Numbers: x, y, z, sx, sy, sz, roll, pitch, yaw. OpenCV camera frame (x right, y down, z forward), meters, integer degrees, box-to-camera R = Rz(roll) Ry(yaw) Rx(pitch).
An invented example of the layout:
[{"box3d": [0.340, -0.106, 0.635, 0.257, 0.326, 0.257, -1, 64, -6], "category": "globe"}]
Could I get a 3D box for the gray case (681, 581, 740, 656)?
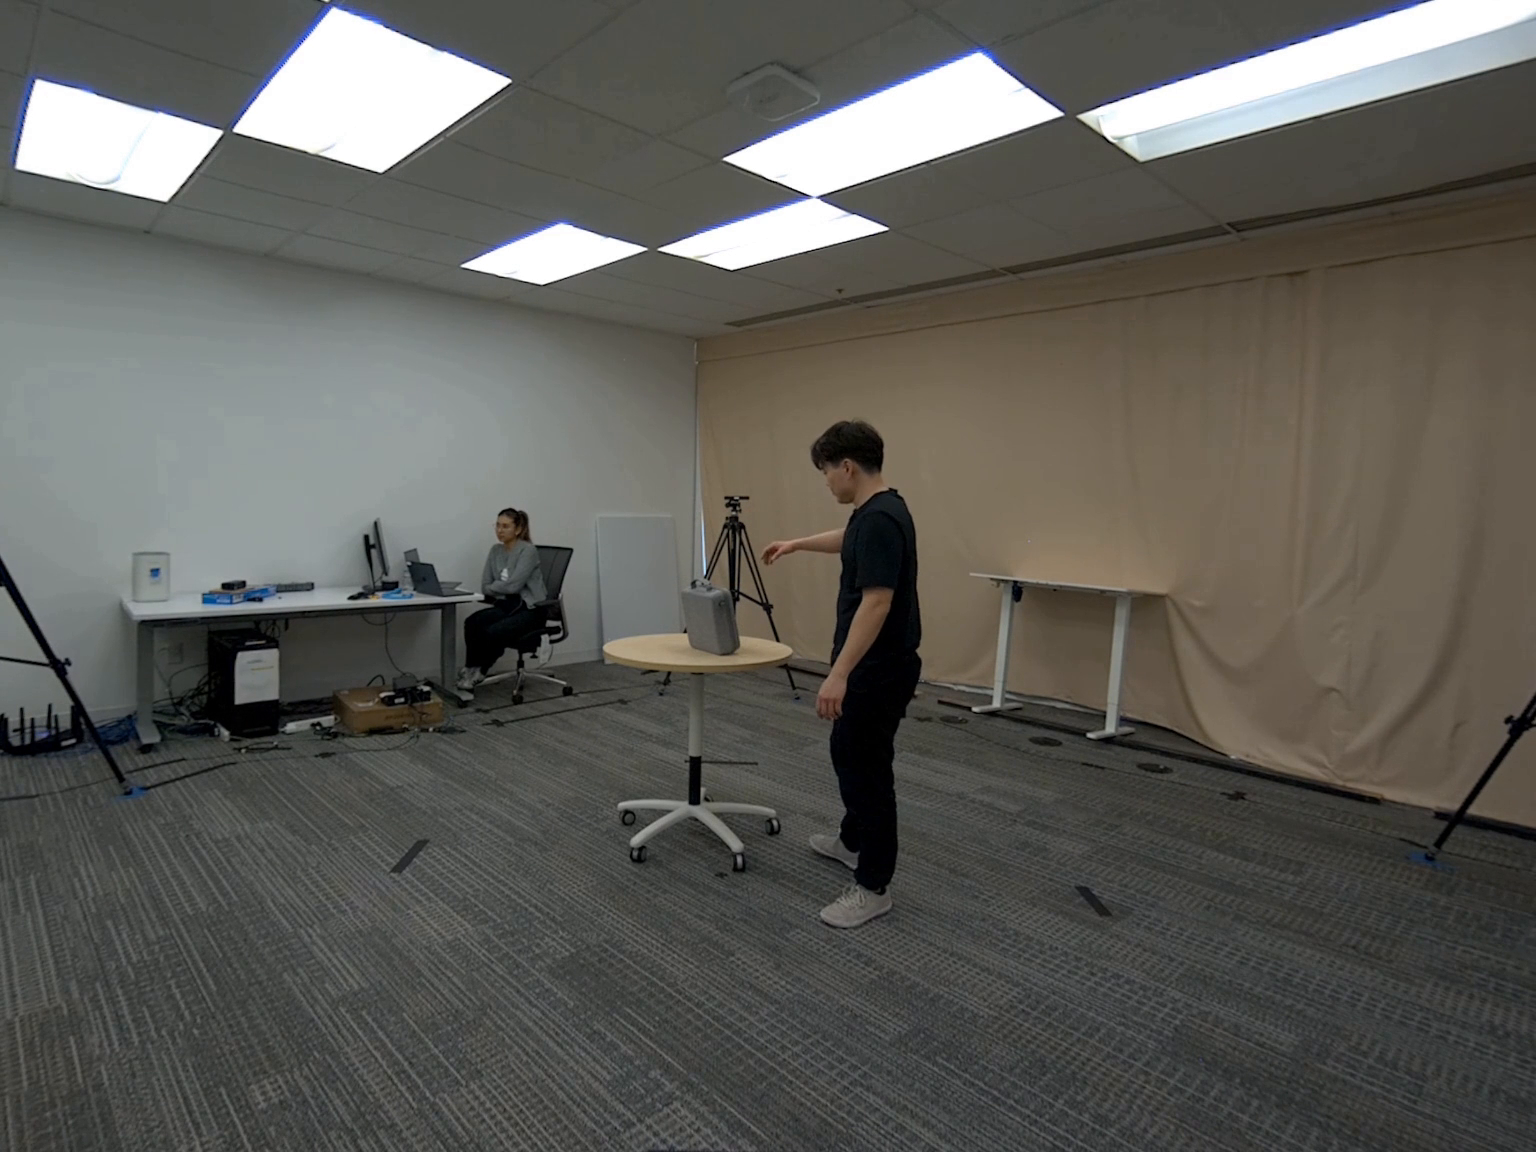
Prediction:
[{"box3d": [-0.234, 0.167, 3.332, 0.103, 0.259, 0.263, -13, 10, -31], "category": "gray case"}]
